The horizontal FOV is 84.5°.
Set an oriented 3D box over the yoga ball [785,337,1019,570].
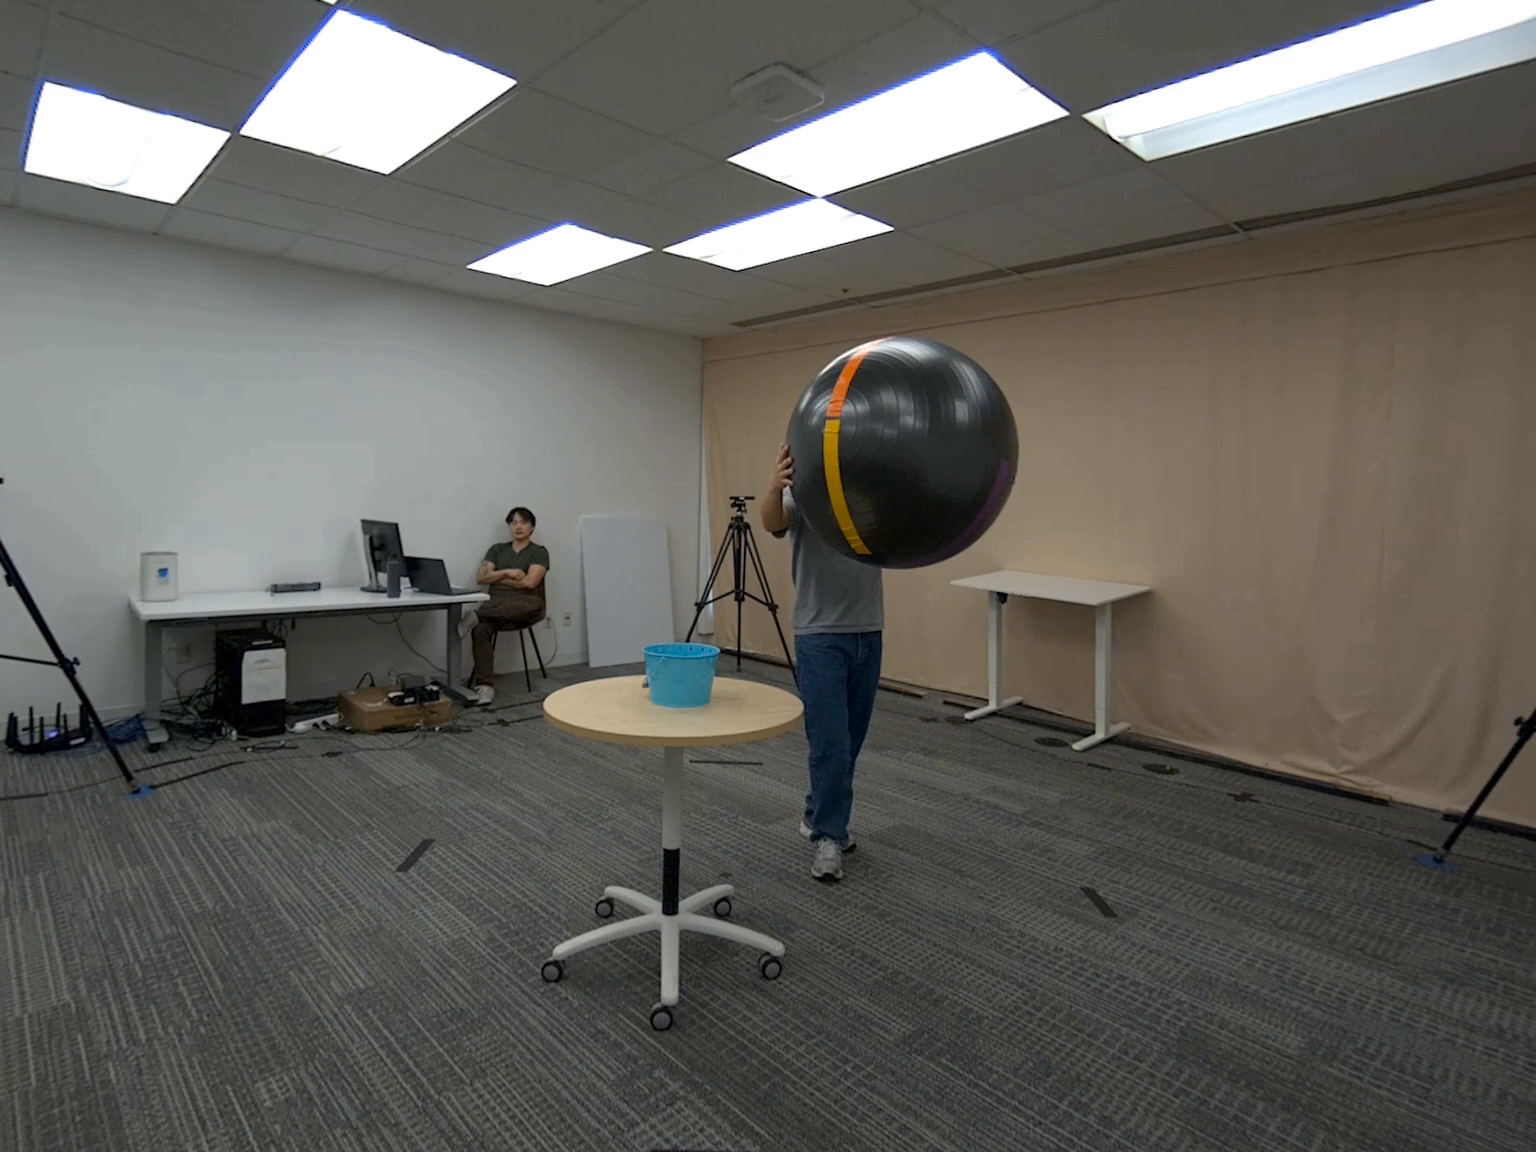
[{"bbox_3d":[0.431,-0.399,2.787,0.757,0.756,0.761,1,4,-1],"label":"yoga ball"}]
